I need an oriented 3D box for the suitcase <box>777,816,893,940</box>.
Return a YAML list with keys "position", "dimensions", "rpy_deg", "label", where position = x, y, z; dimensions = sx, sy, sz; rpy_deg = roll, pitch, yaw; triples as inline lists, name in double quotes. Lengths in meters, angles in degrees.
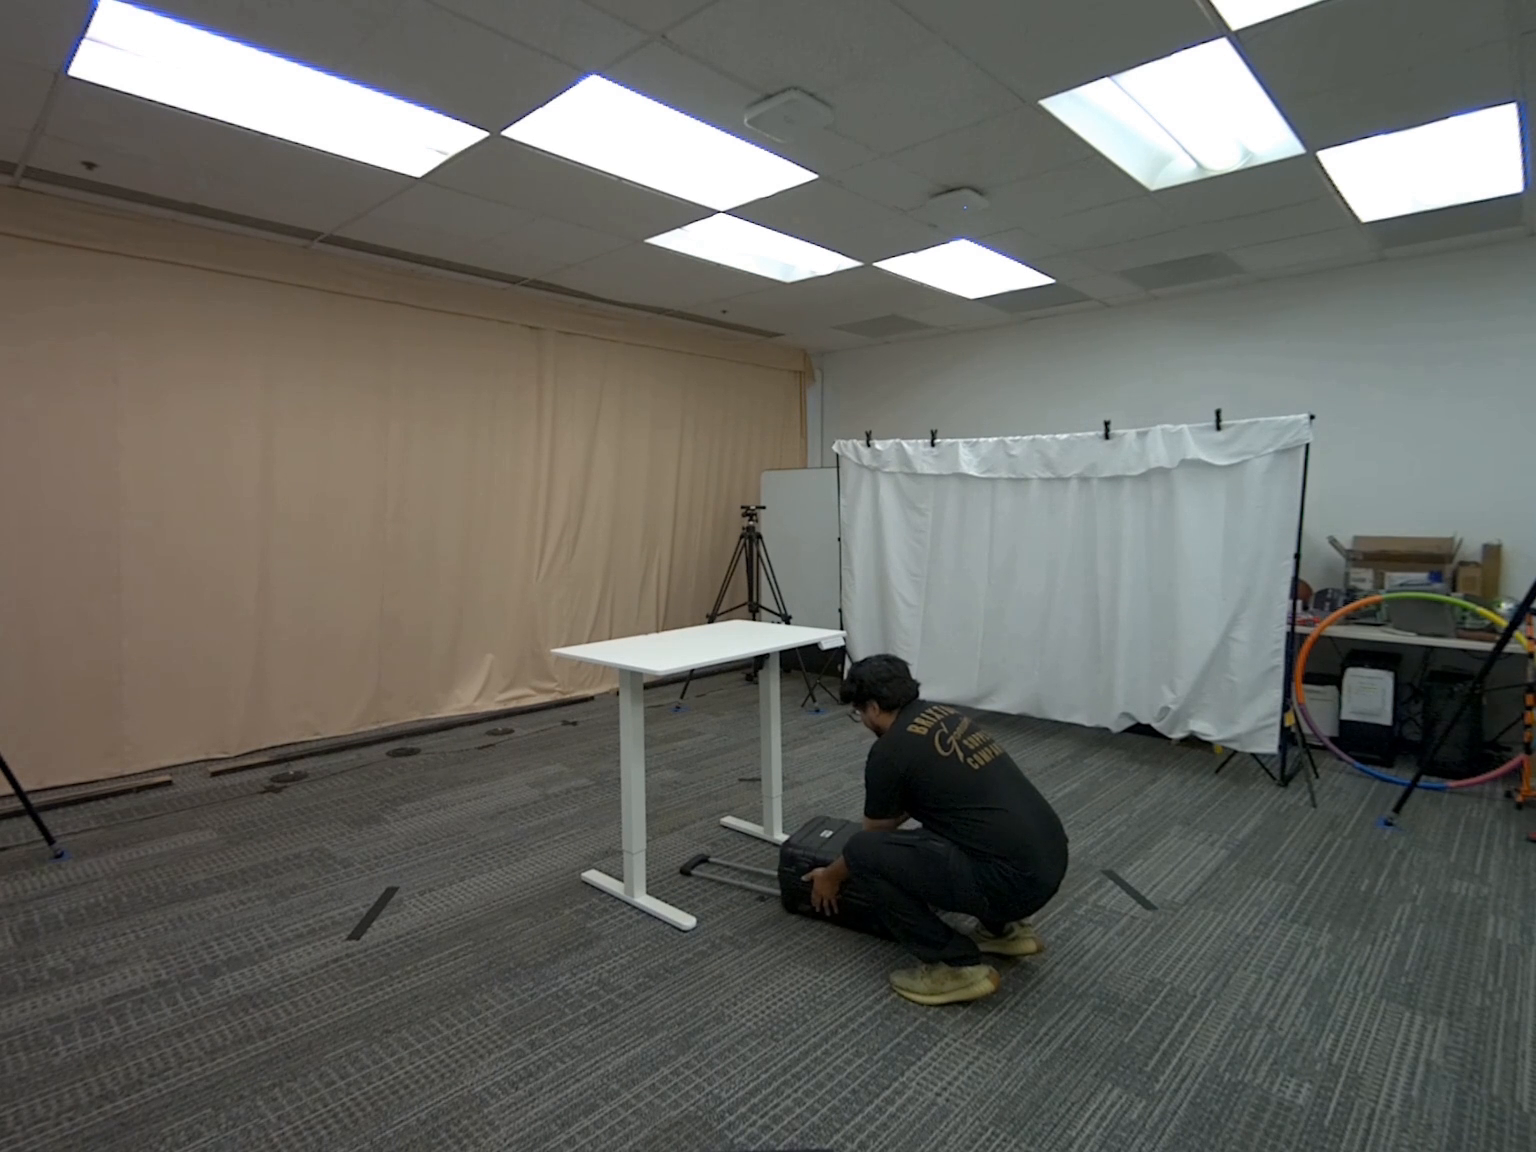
- position: [0.144, 1.011, 2.995]
  dimensions: [1.007, 0.255, 0.375]
  rpy_deg: [4, 11, 30]
  label: "suitcase"
